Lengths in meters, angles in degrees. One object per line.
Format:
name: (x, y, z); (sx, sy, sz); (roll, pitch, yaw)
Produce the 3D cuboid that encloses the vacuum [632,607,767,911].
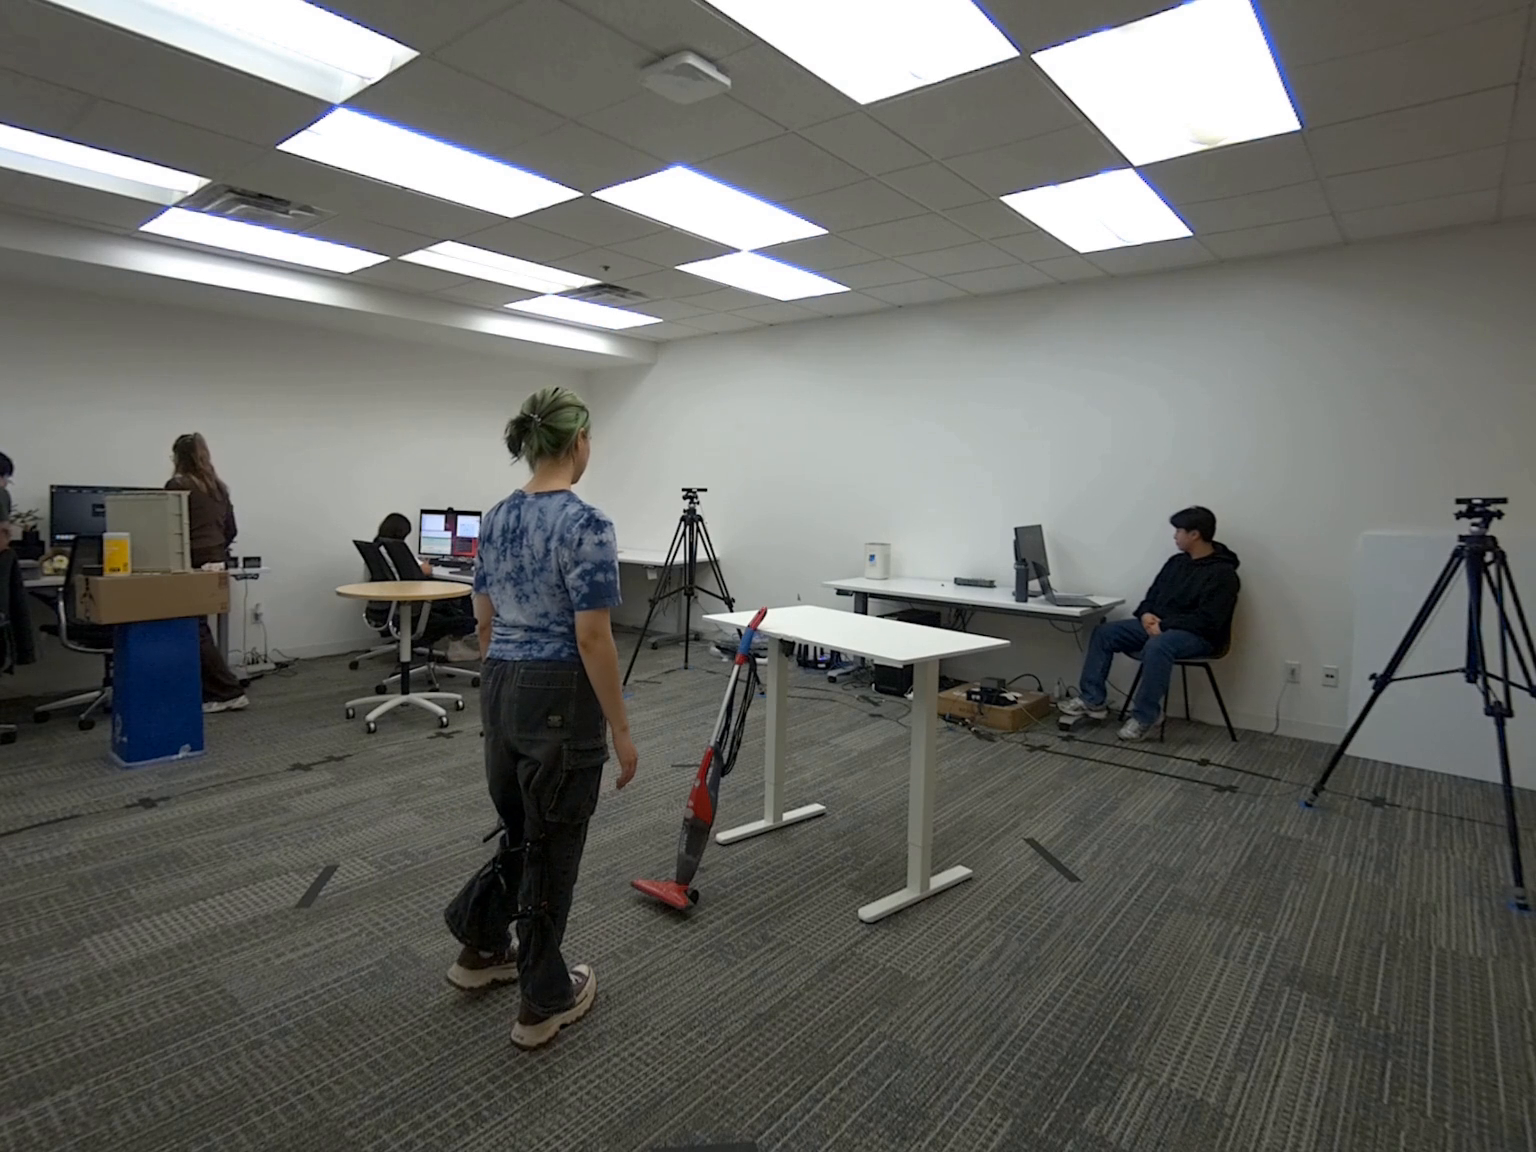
vacuum: (-0.179, 0.601, 3.001); (0.261, 1.060, 0.138); (4, -23, 37)
